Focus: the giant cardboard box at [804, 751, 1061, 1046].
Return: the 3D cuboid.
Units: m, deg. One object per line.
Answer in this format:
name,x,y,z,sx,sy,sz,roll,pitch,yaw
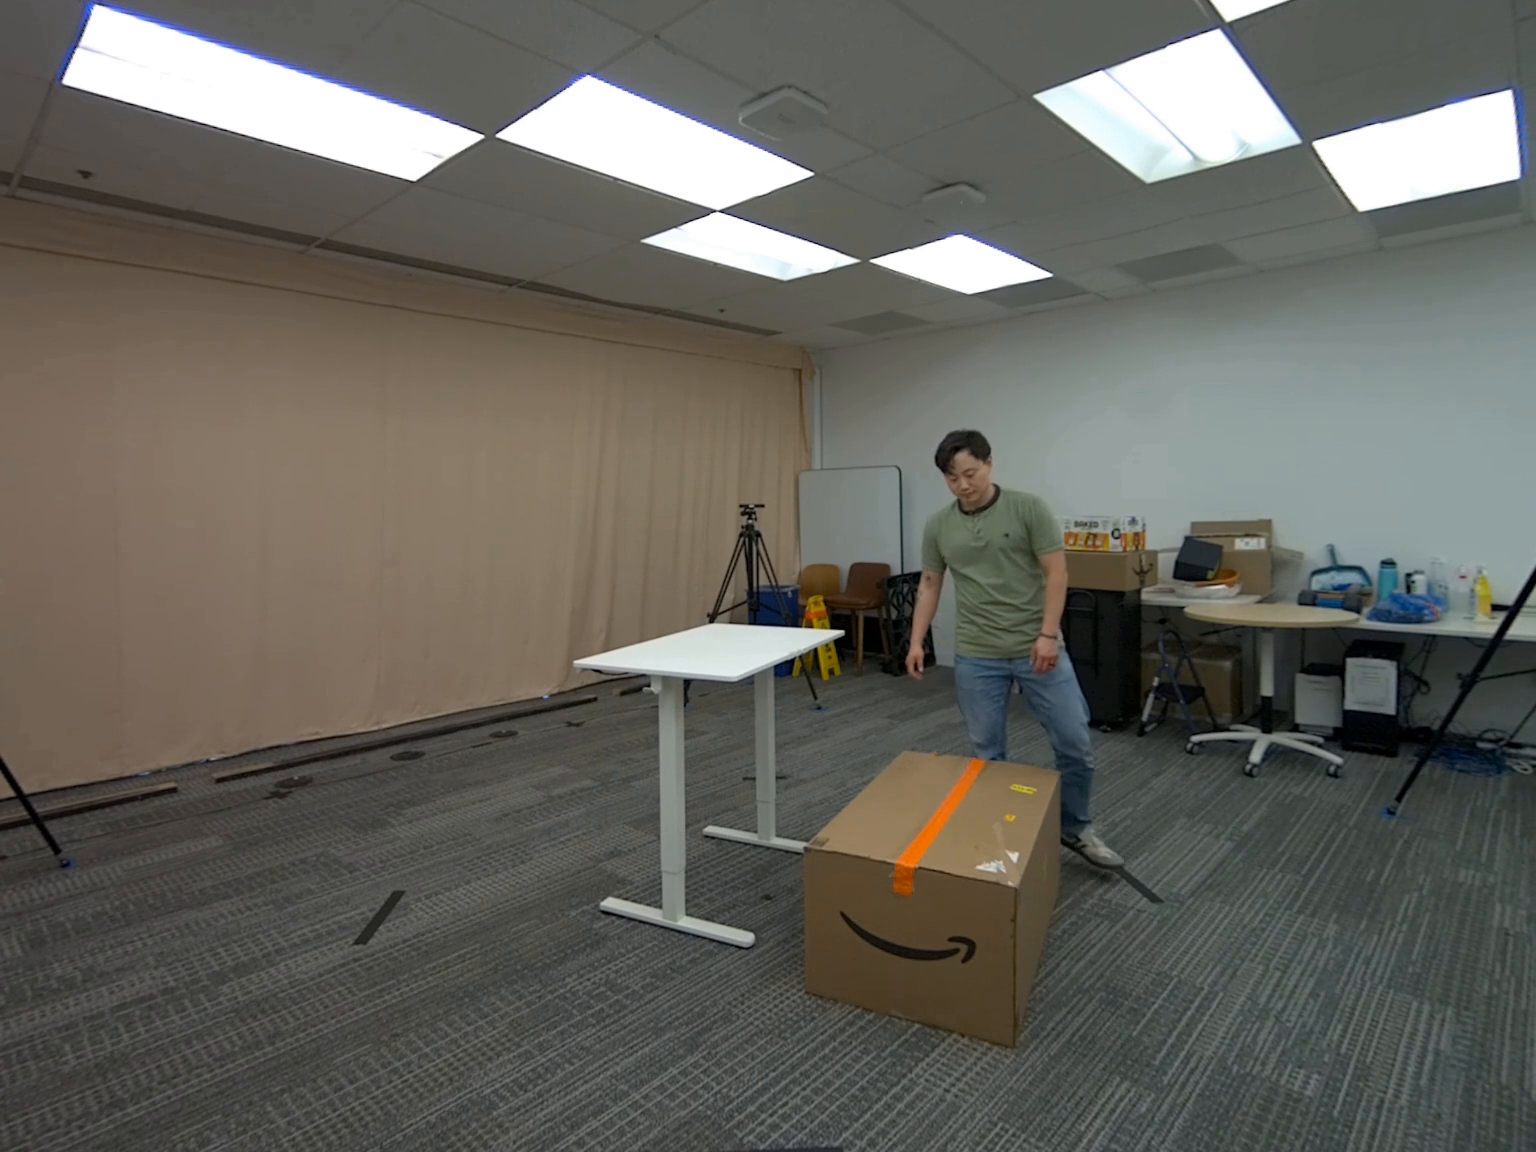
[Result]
giant cardboard box,0.575,0.939,2.701,0.593,0.425,1.002,2,5,25
